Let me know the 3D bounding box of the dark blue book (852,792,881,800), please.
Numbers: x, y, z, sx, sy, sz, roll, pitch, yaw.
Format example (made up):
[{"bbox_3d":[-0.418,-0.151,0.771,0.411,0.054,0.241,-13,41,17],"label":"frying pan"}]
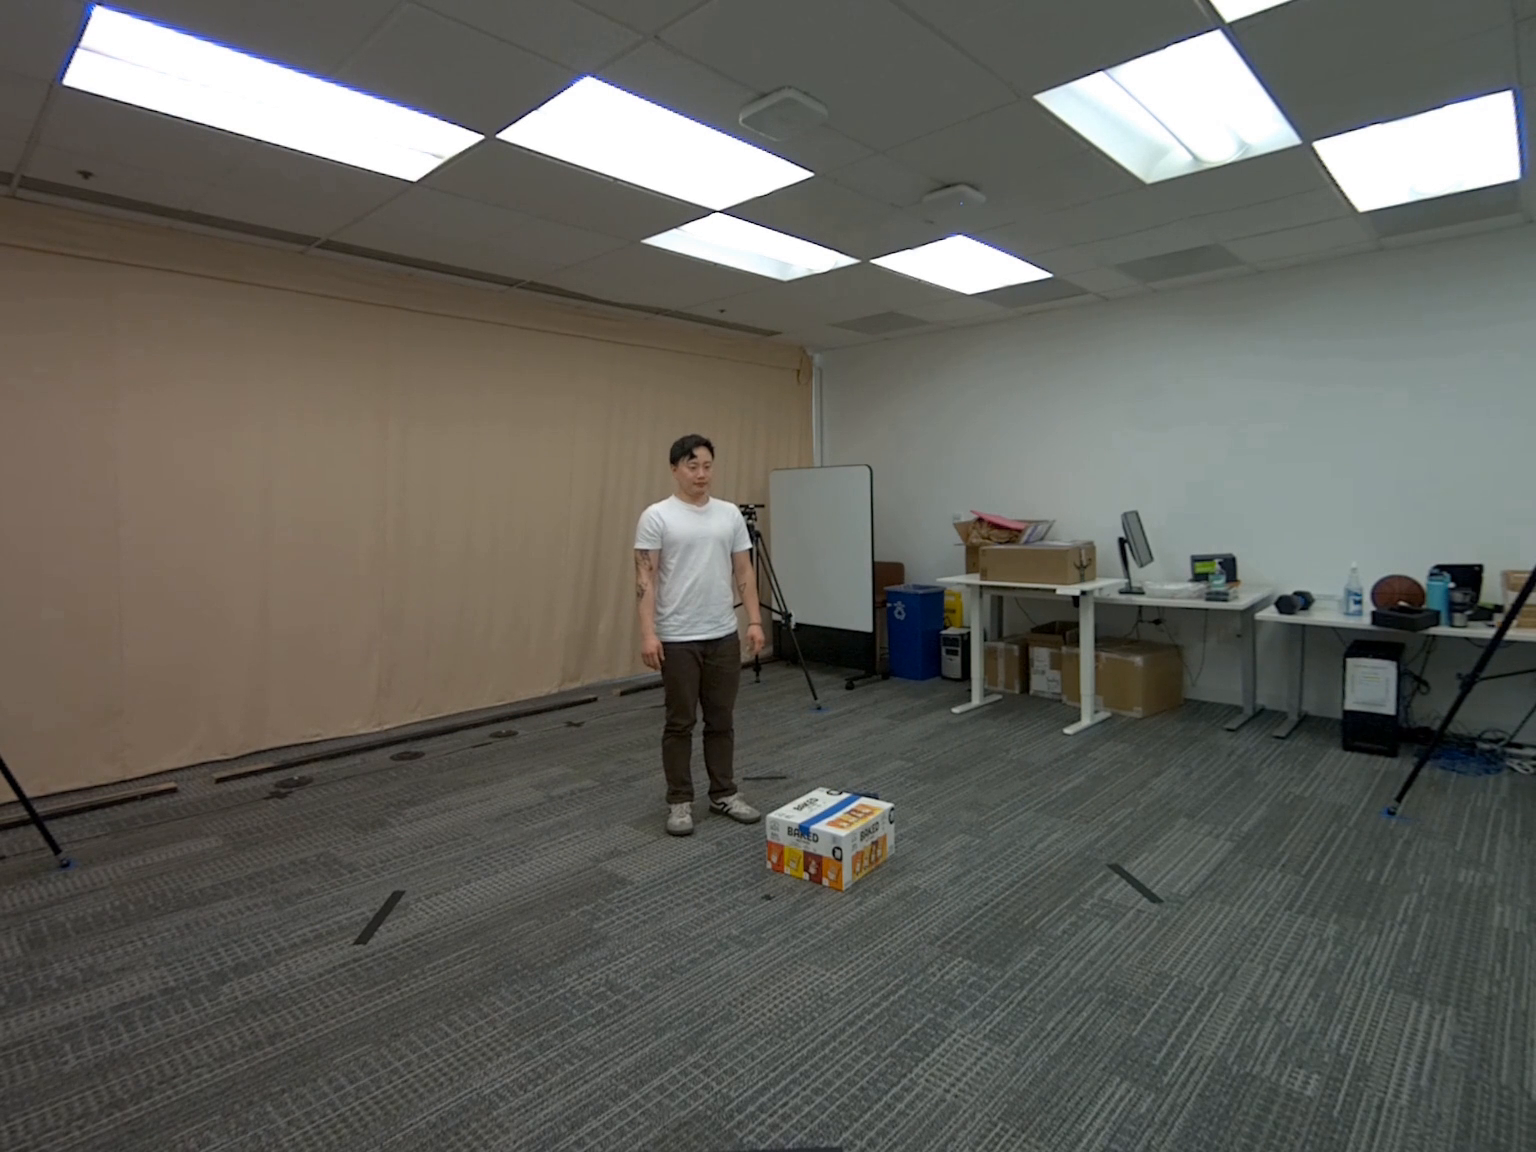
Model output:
[{"bbox_3d":[0.386,1.035,3.845,0.247,0.045,0.162,-1,4,7],"label":"dark blue book"}]
